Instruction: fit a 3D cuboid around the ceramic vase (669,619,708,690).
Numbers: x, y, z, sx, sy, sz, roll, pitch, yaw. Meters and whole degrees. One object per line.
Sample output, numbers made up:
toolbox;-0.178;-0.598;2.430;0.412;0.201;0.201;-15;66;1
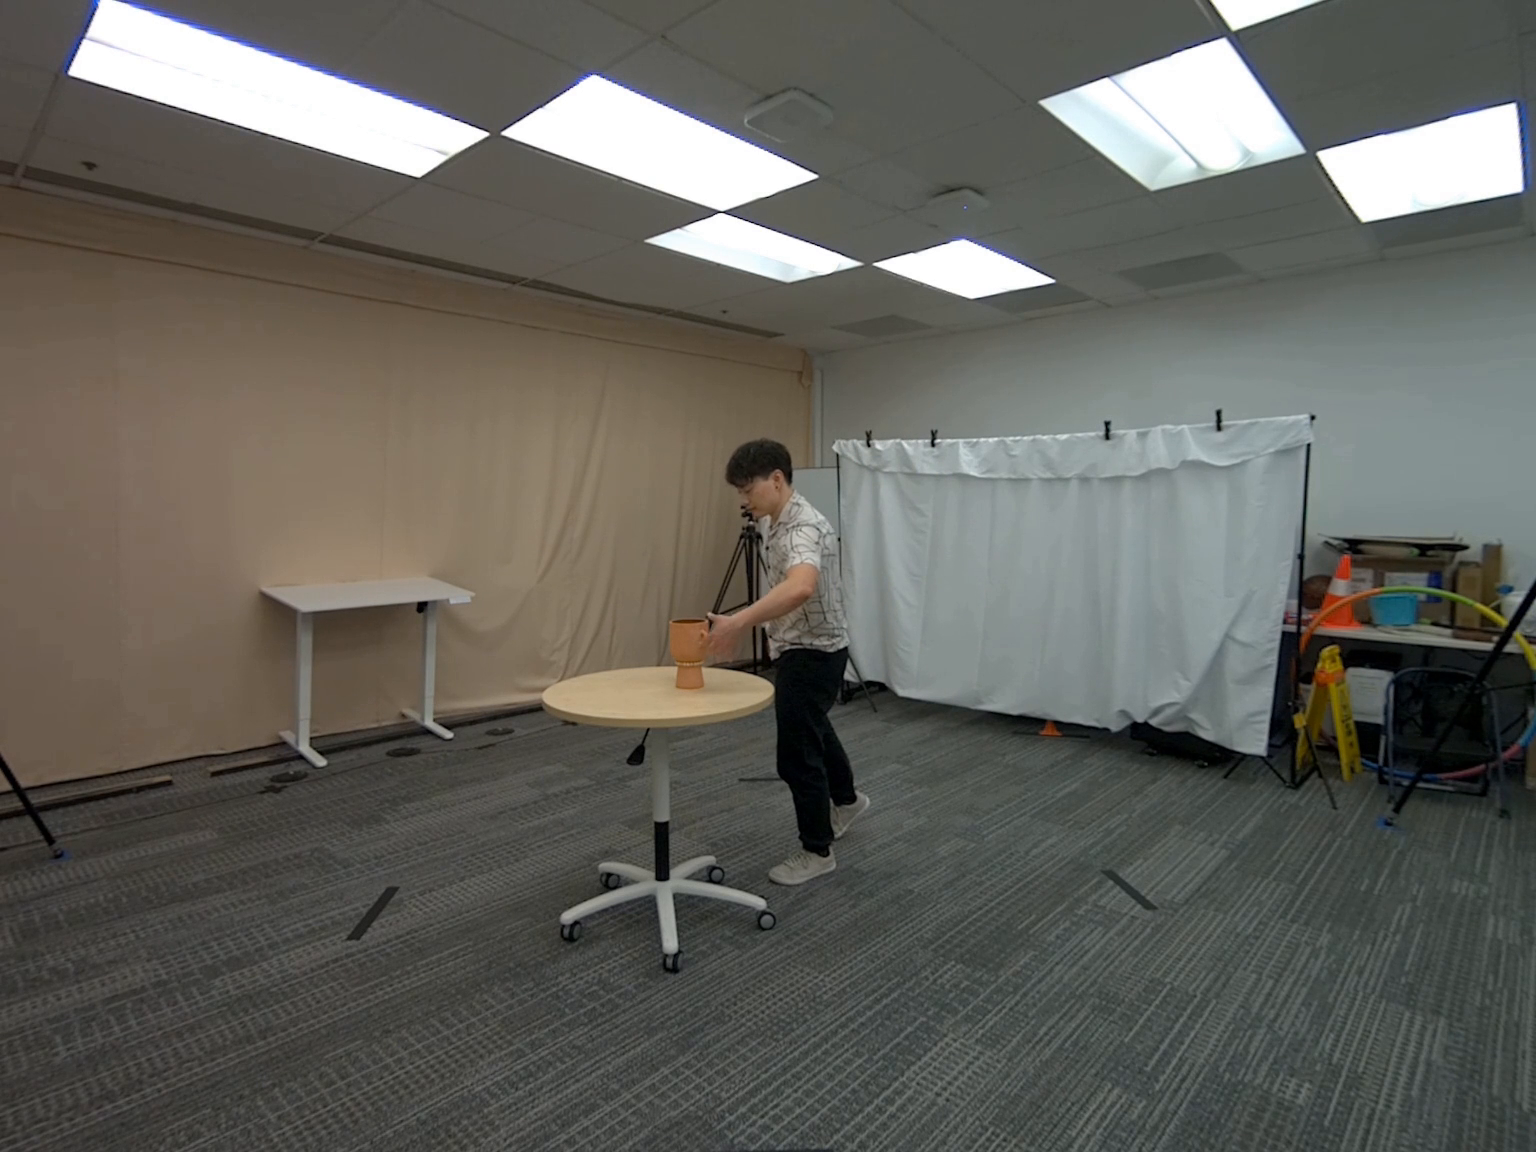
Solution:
ceramic vase;-0.261;0.262;2.835;0.134;0.219;0.160;1;4;-5
